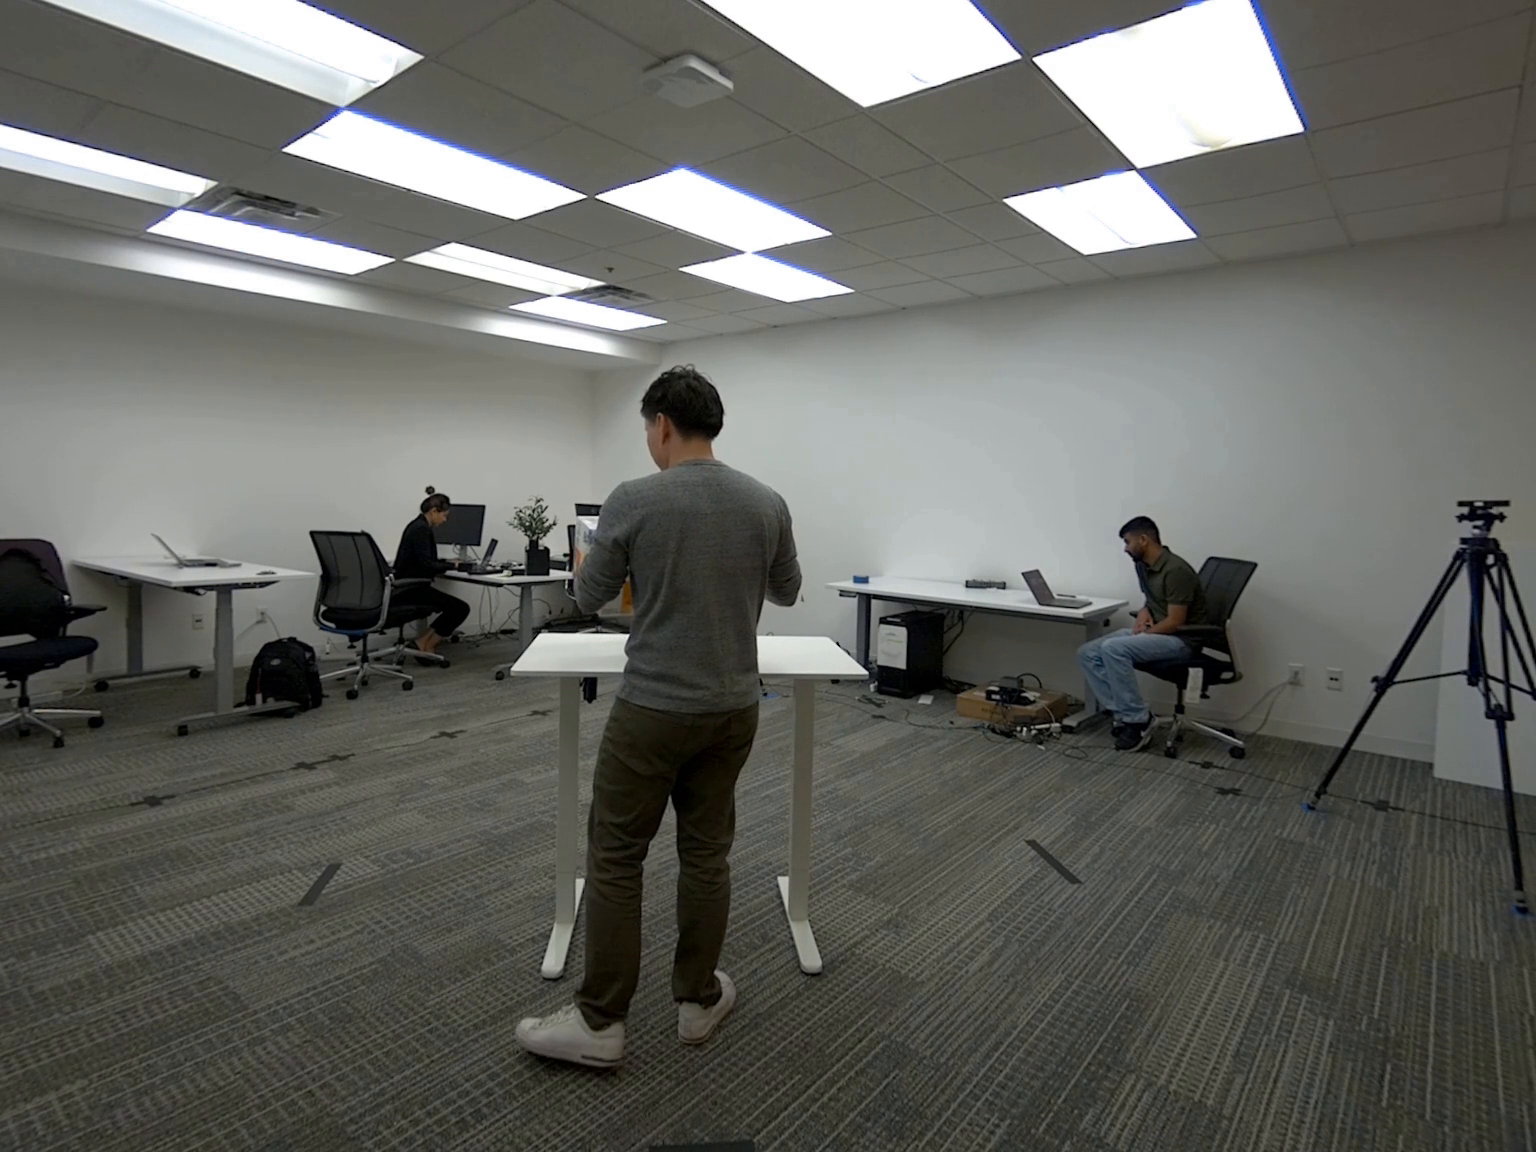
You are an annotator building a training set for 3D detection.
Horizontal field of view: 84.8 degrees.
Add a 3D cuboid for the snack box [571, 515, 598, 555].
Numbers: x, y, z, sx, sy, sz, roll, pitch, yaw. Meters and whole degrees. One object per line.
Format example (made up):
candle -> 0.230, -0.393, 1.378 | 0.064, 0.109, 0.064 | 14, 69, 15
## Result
snack box -> -0.366, -0.037, 2.591 | 0.396, 0.203, 0.353 | -1, 20, -25
